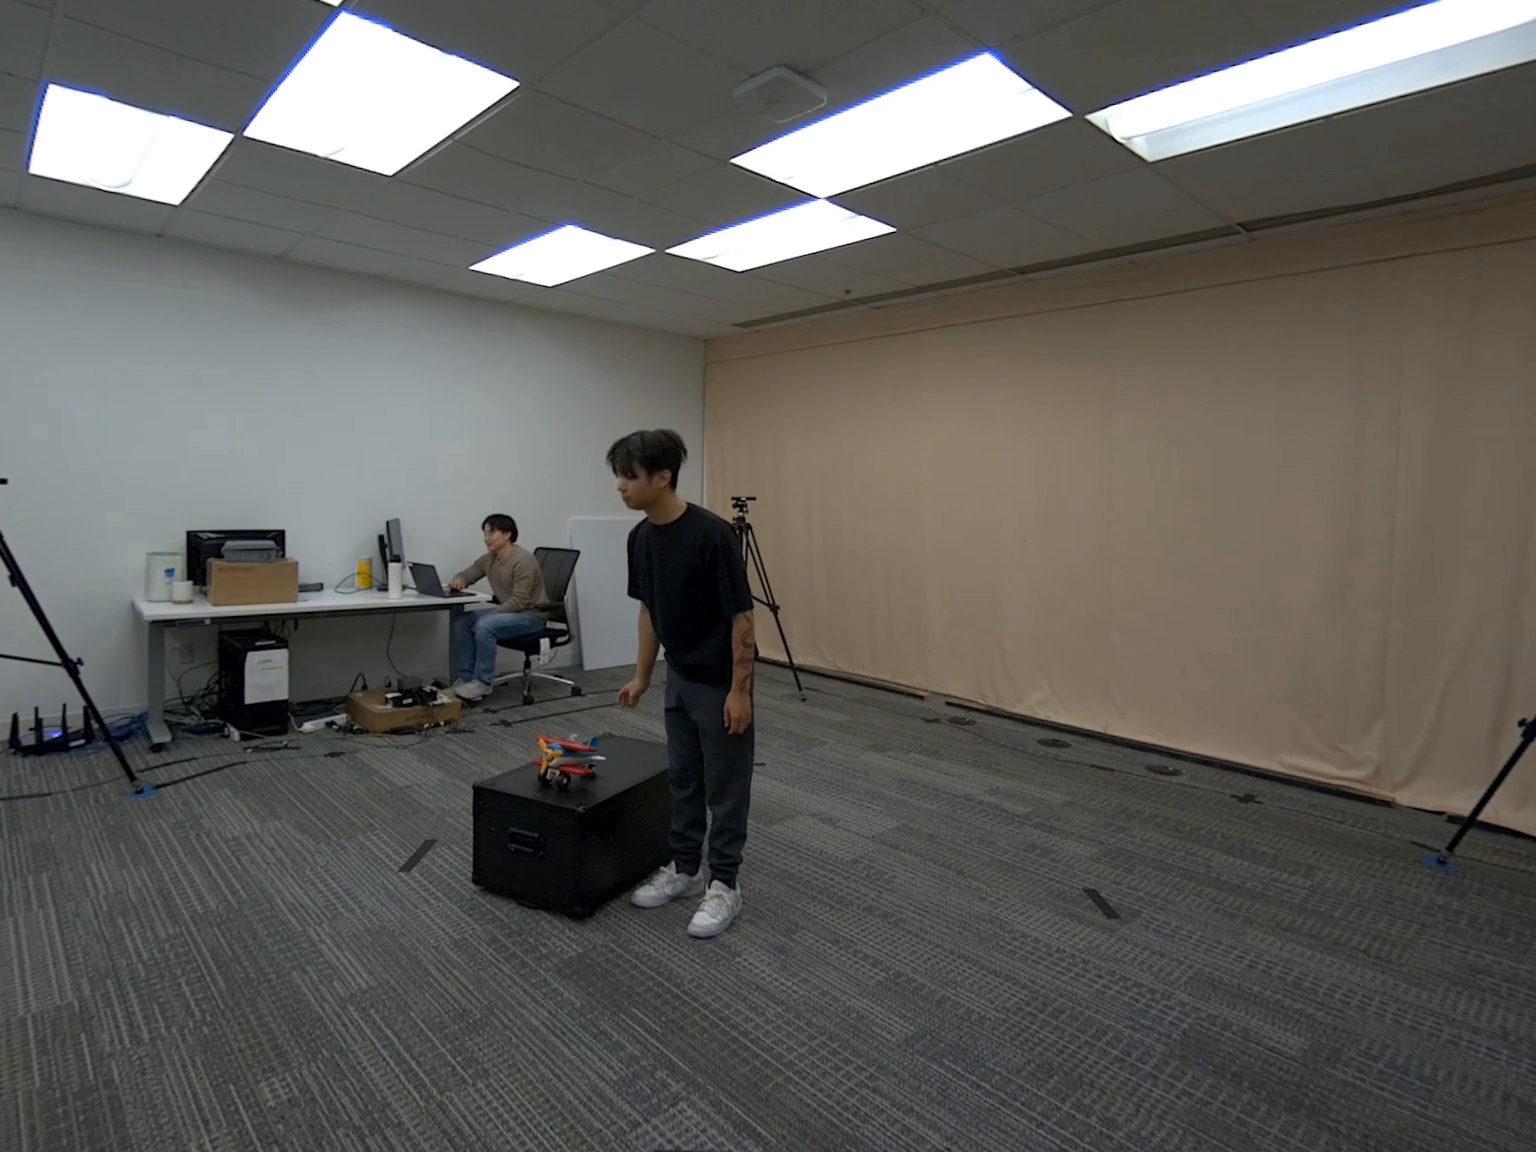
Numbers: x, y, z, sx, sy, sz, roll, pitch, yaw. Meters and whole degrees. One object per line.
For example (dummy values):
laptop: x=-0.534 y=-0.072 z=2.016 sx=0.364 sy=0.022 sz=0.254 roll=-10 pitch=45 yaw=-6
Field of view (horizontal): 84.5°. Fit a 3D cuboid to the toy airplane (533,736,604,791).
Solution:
toy airplane: x=-0.723 y=0.645 z=3.013 sx=0.252 sy=0.156 sz=0.259 roll=2 pitch=6 yaw=3
